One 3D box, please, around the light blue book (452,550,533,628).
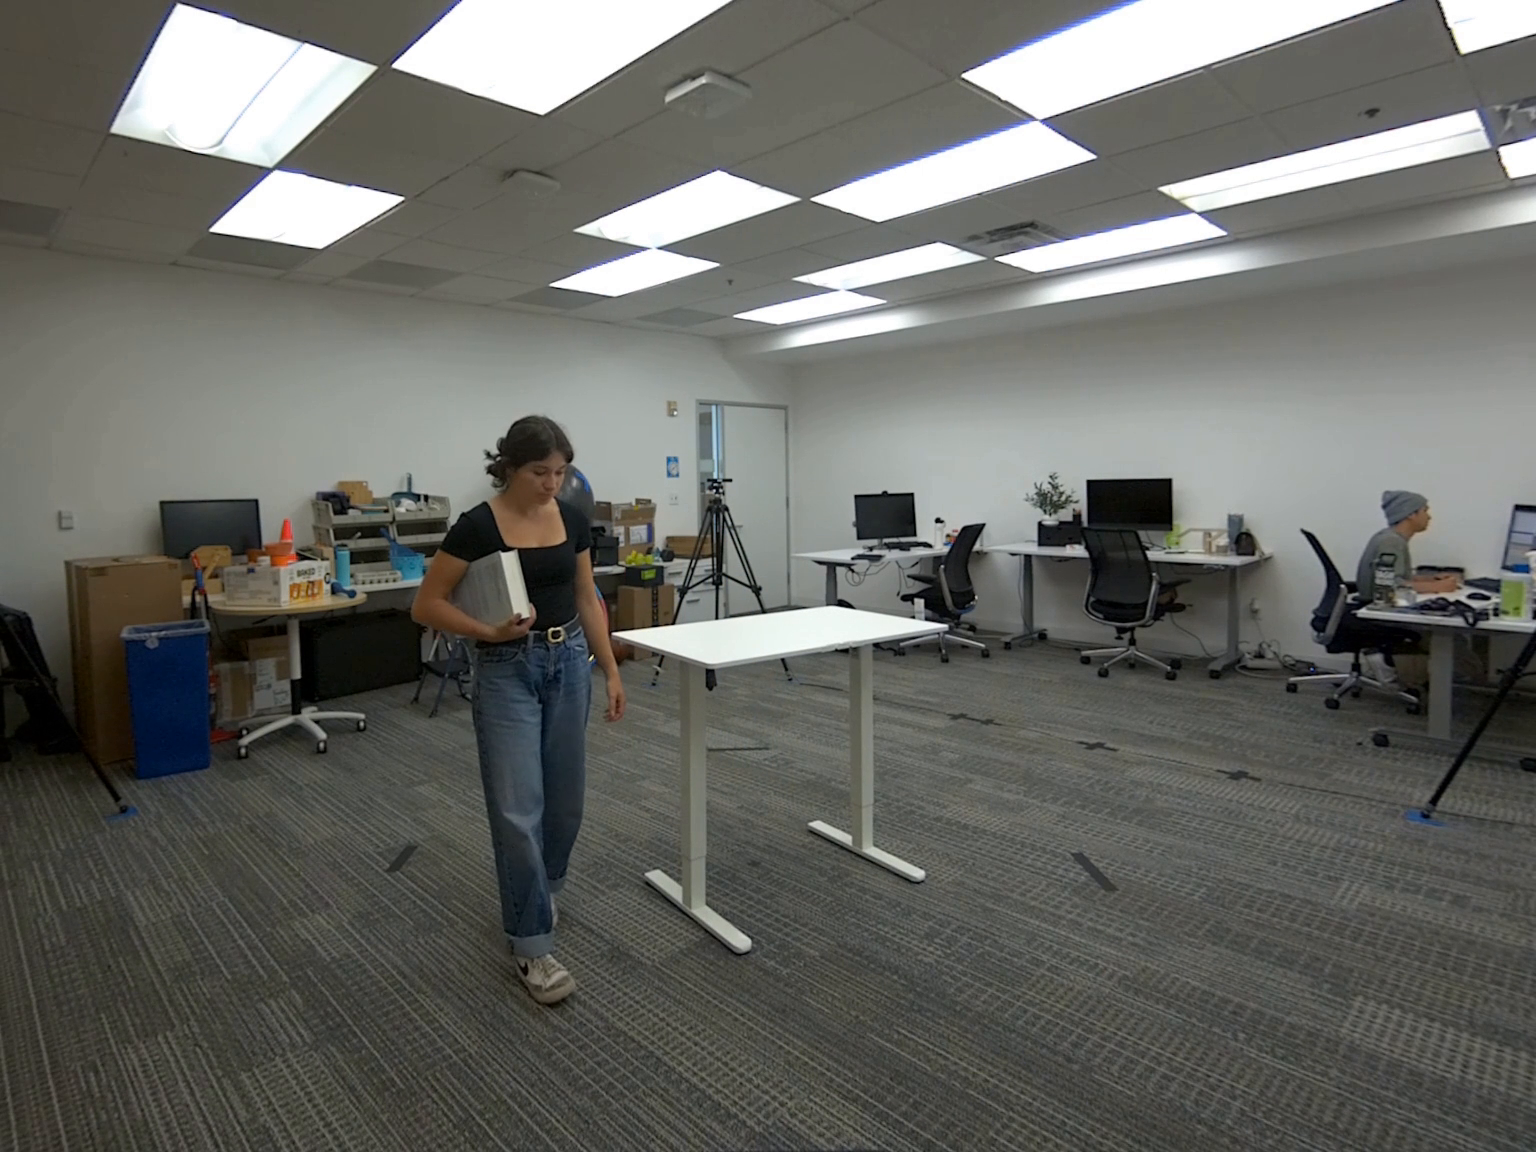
[{"bbox_3d":[-0.770,0.053,2.344,0.266,0.193,0.057,-16,-7,34],"label":"light blue book"}]
